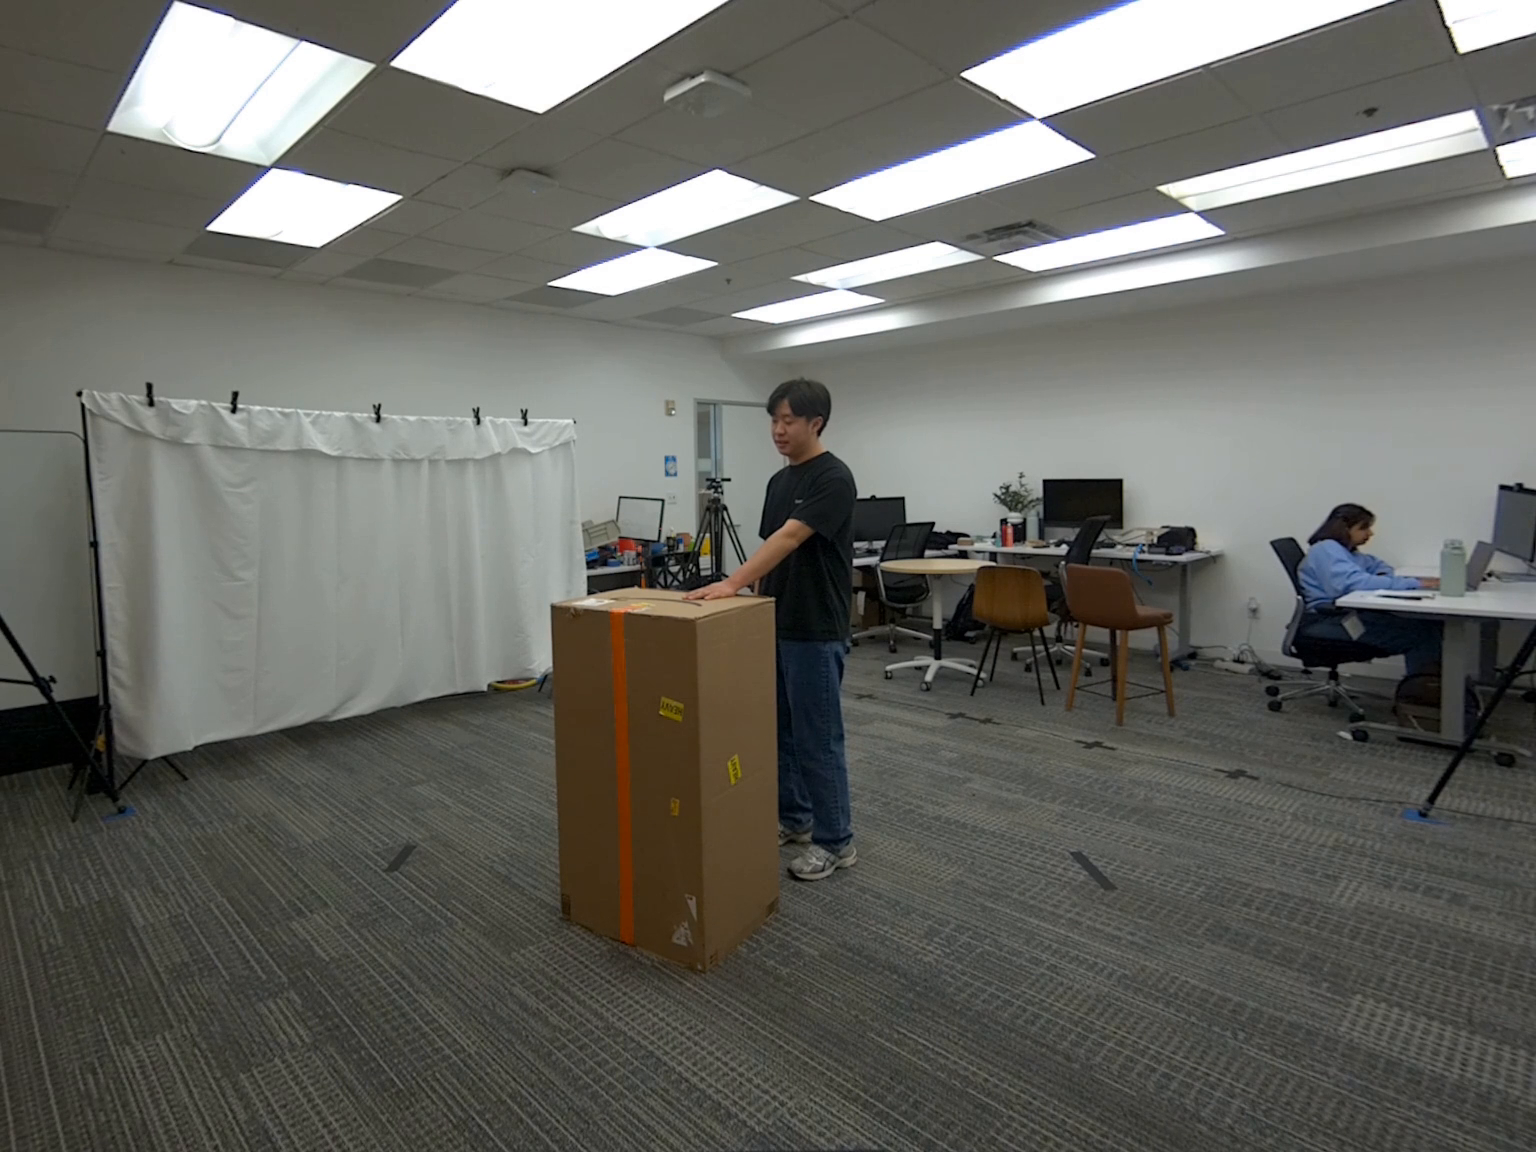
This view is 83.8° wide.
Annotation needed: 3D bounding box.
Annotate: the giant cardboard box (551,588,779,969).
[{"bbox_3d":[-0.323,0.581,2.713,0.601,1.022,0.436,2,6,35],"label":"giant cardboard box"}]
